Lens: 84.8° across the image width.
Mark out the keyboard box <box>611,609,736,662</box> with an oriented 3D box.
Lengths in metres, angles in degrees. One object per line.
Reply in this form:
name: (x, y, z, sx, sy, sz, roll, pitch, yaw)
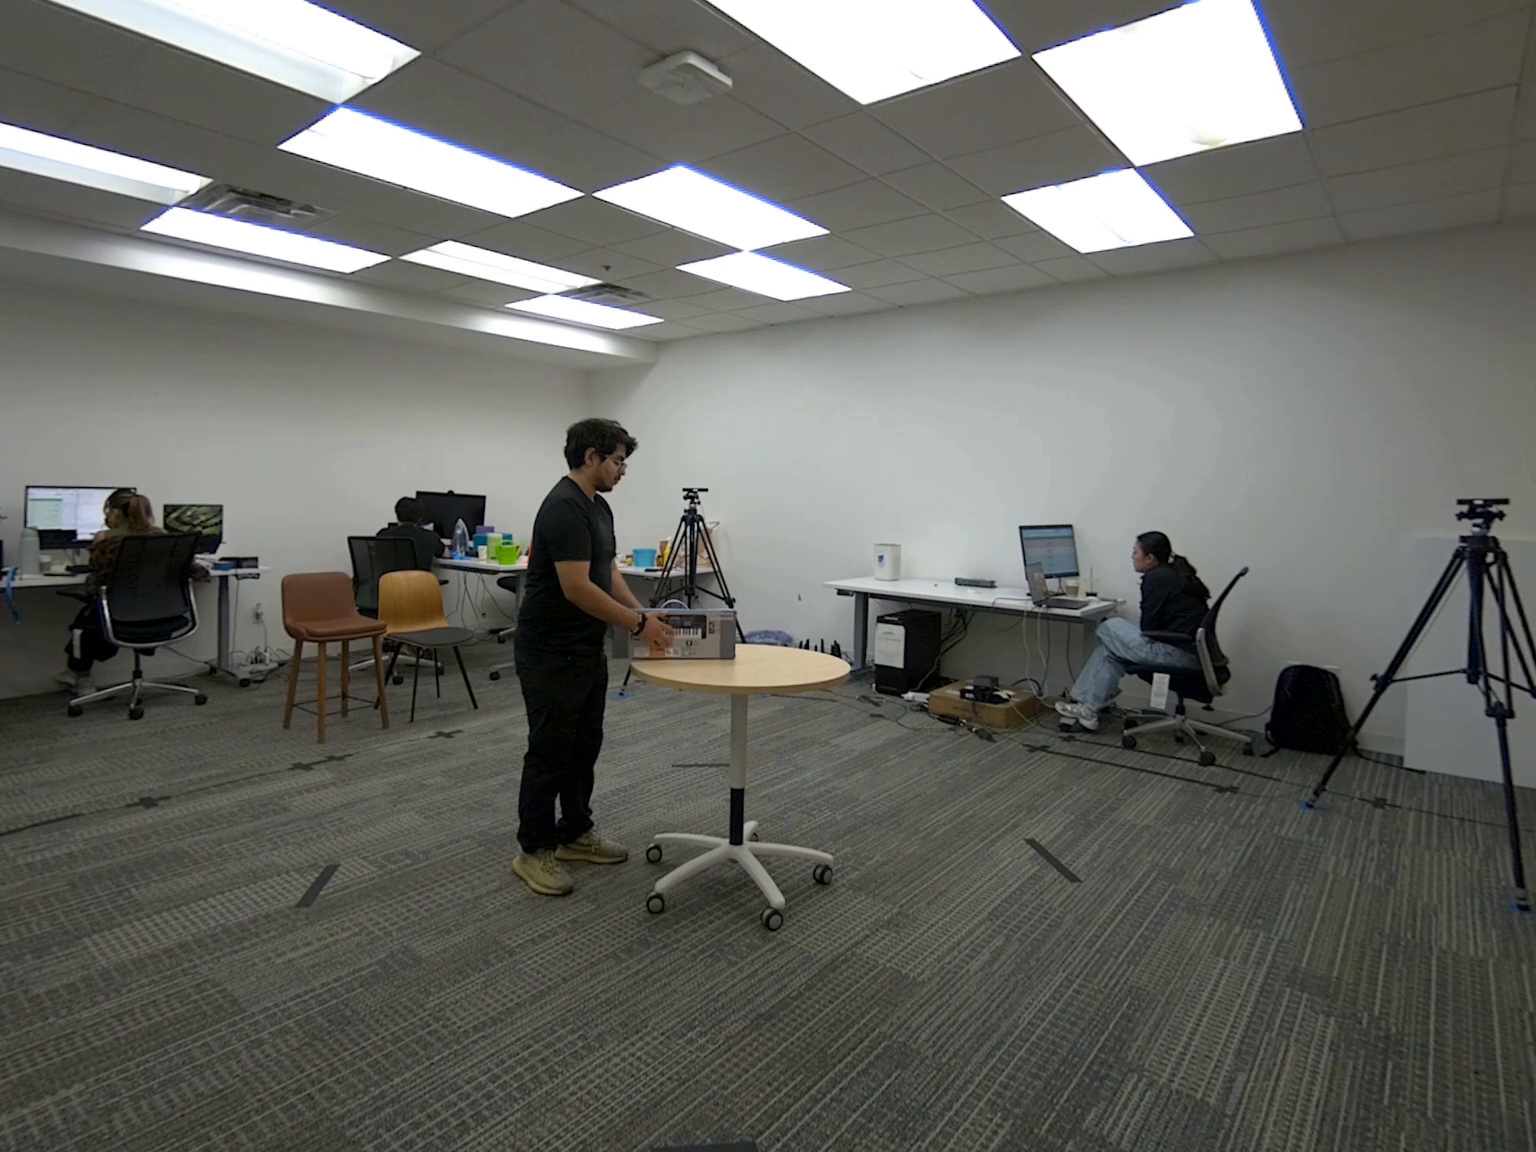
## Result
keyboard box: (-0.342, 0.211, 3.029, 0.434, 0.176, 0.059, 1, 1, -6)
